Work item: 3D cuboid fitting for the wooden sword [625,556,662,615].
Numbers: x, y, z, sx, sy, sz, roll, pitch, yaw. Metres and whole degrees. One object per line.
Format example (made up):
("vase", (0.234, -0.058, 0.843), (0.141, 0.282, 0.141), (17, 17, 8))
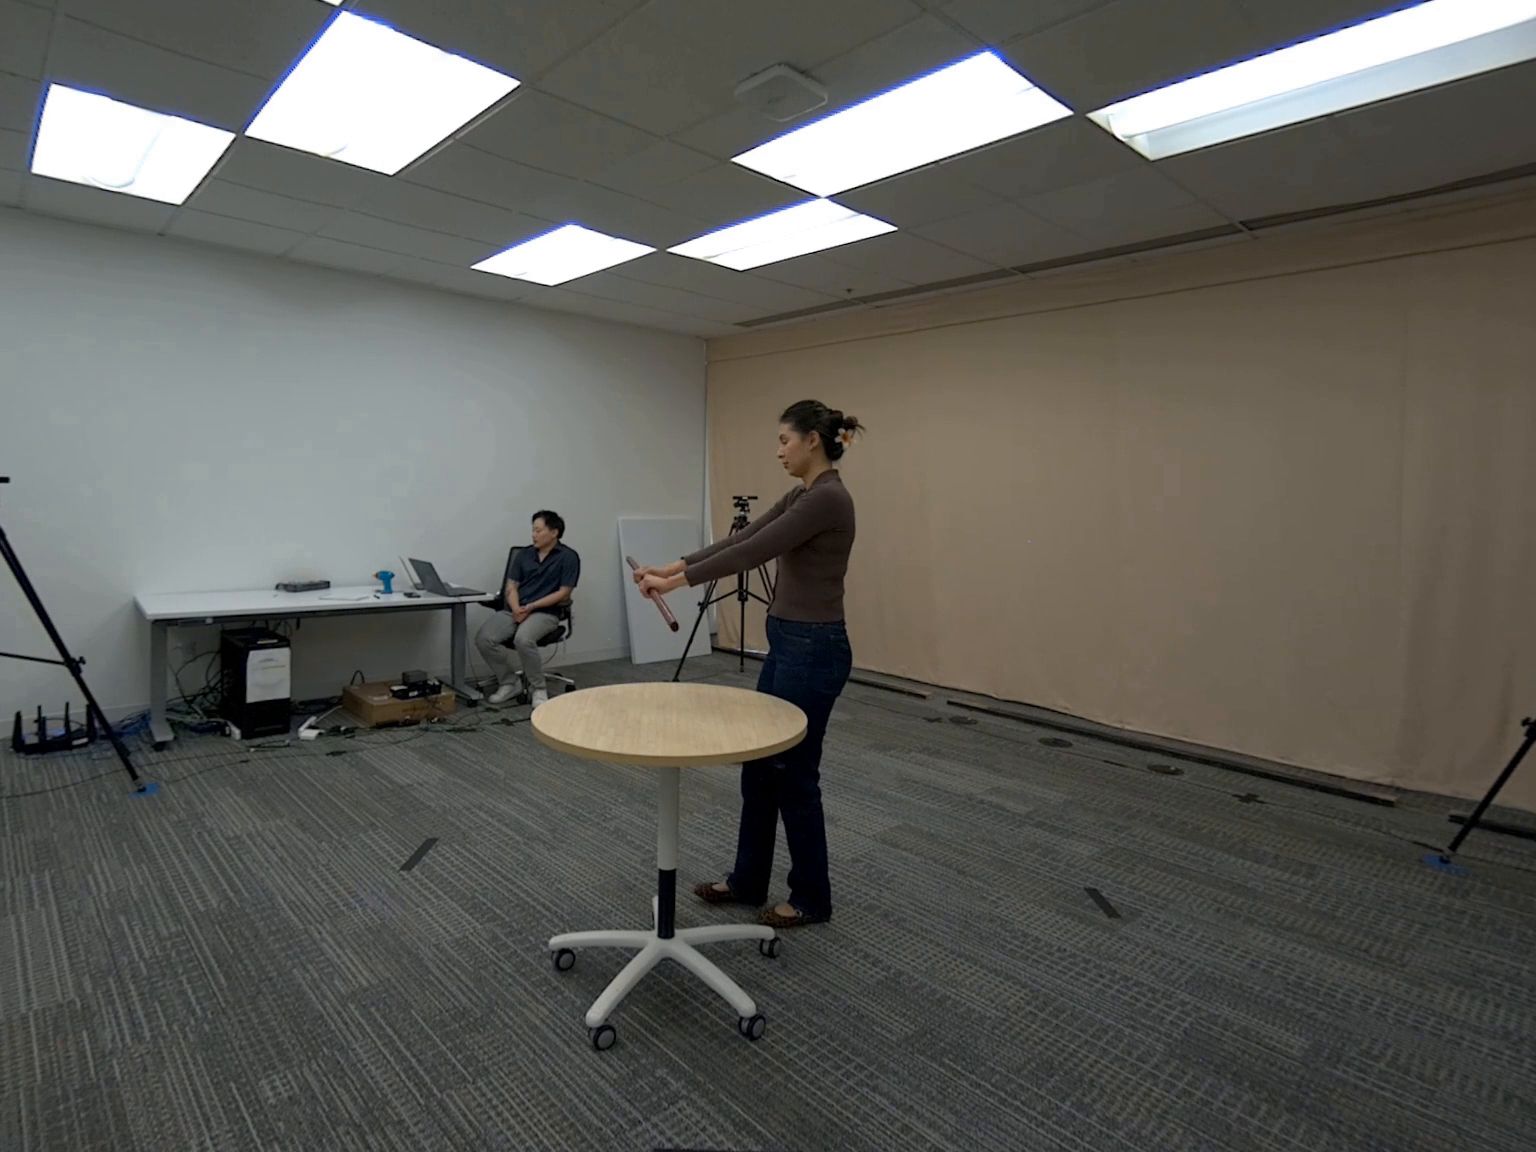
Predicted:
("wooden sword", (-0.449, 0.030, 2.749), (0.050, 0.024, 1.041), (23, 4, -16))
